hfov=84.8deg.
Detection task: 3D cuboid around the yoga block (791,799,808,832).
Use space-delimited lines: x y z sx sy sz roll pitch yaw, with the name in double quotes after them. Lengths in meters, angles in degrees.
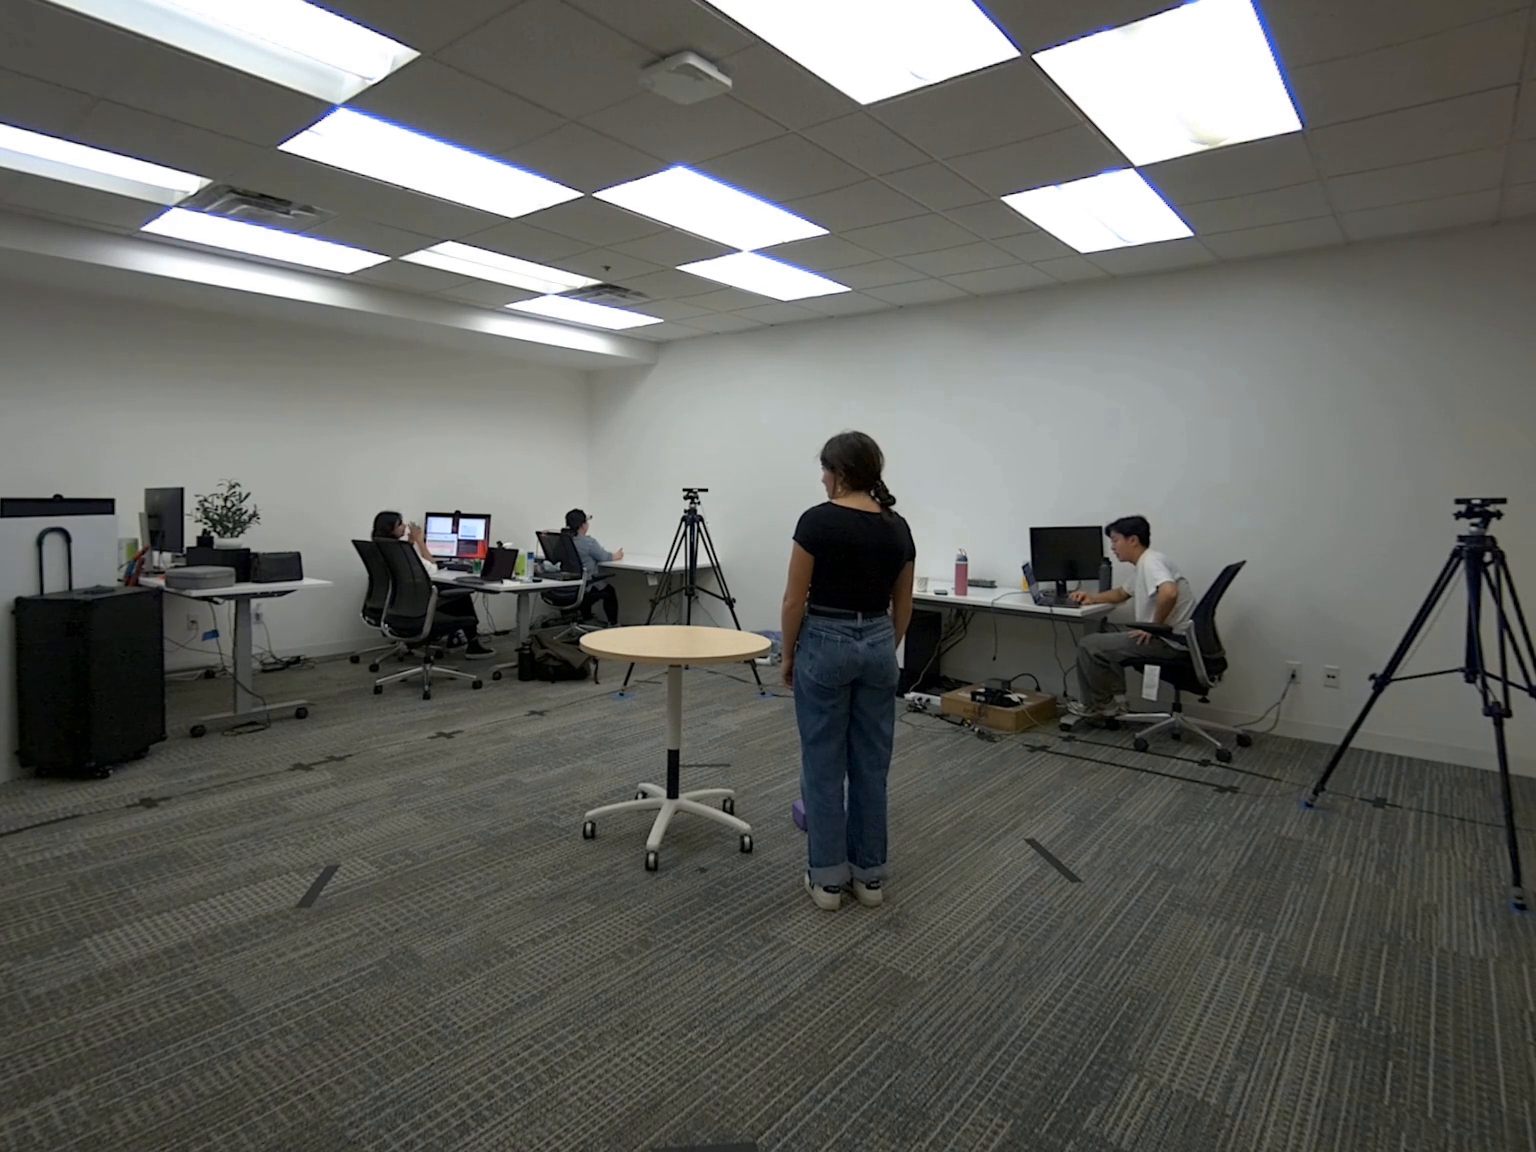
0.249 0.983 3.566 0.226 0.076 0.152 -2 6 -15 "yoga block"
